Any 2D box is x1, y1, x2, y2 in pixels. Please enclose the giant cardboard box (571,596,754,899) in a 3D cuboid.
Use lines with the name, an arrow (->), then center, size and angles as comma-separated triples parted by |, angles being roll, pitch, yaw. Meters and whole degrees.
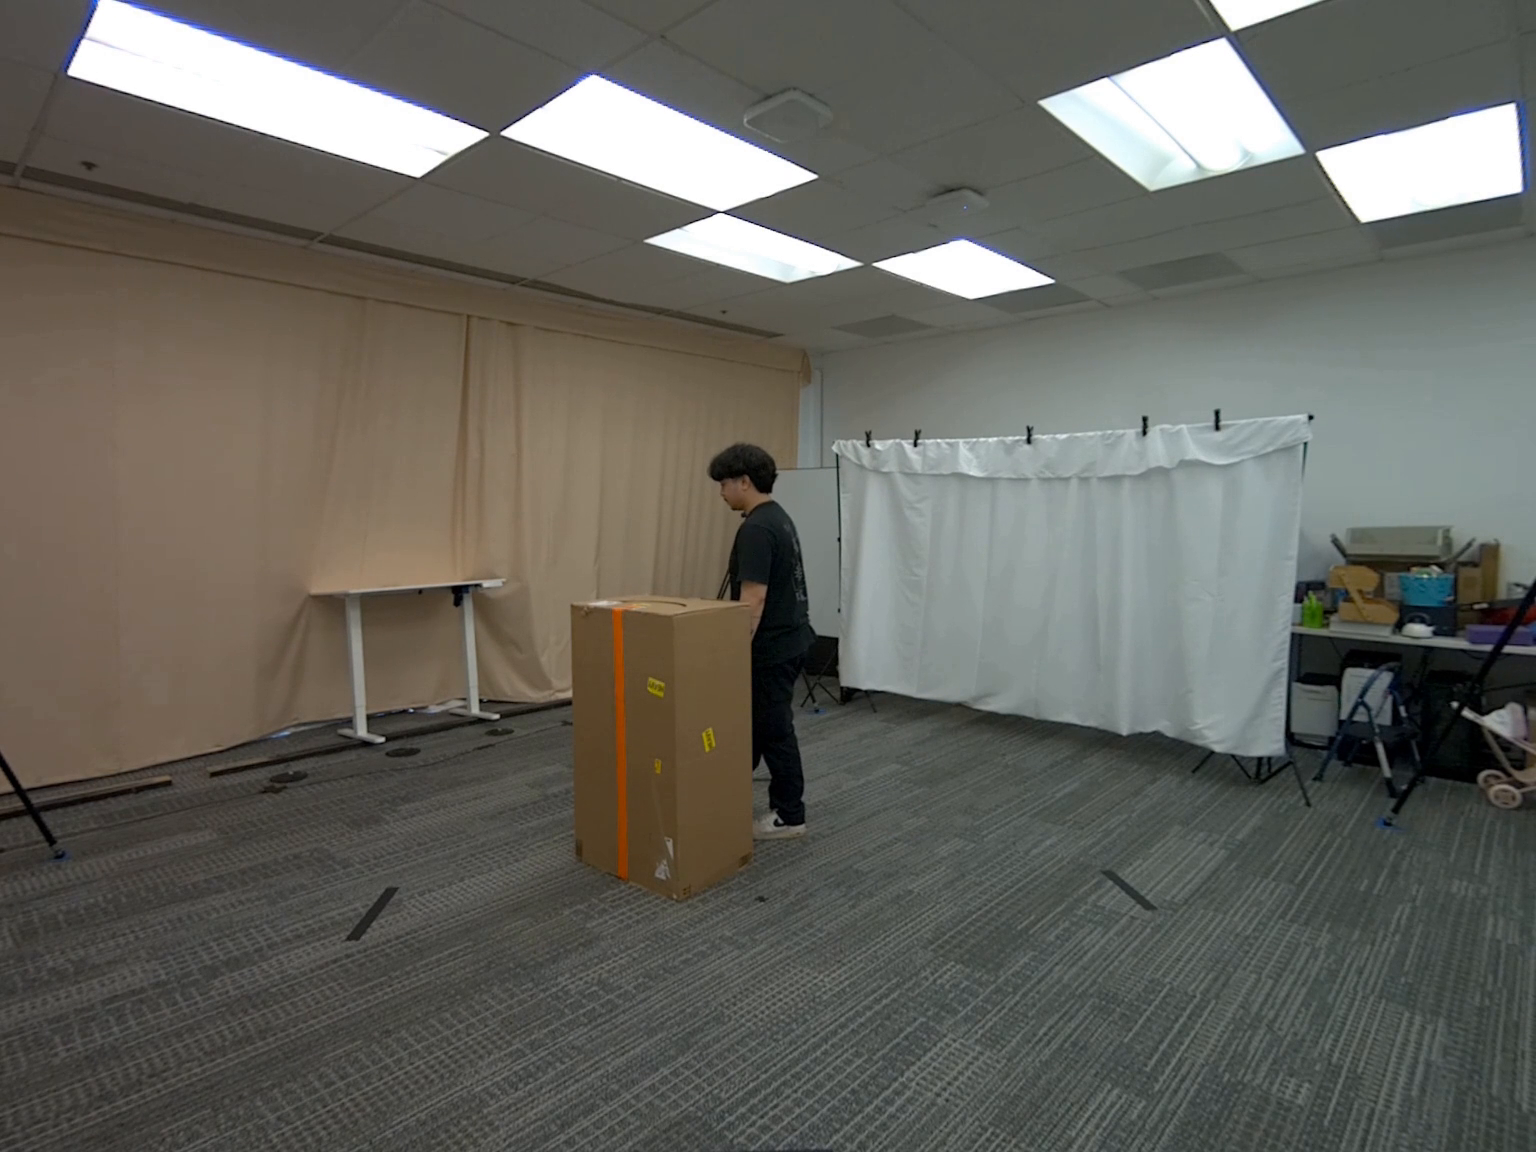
giant cardboard box -> -0.420, 0.613, 3.280 | 0.603, 1.025, 0.433 | 2, 4, 41
